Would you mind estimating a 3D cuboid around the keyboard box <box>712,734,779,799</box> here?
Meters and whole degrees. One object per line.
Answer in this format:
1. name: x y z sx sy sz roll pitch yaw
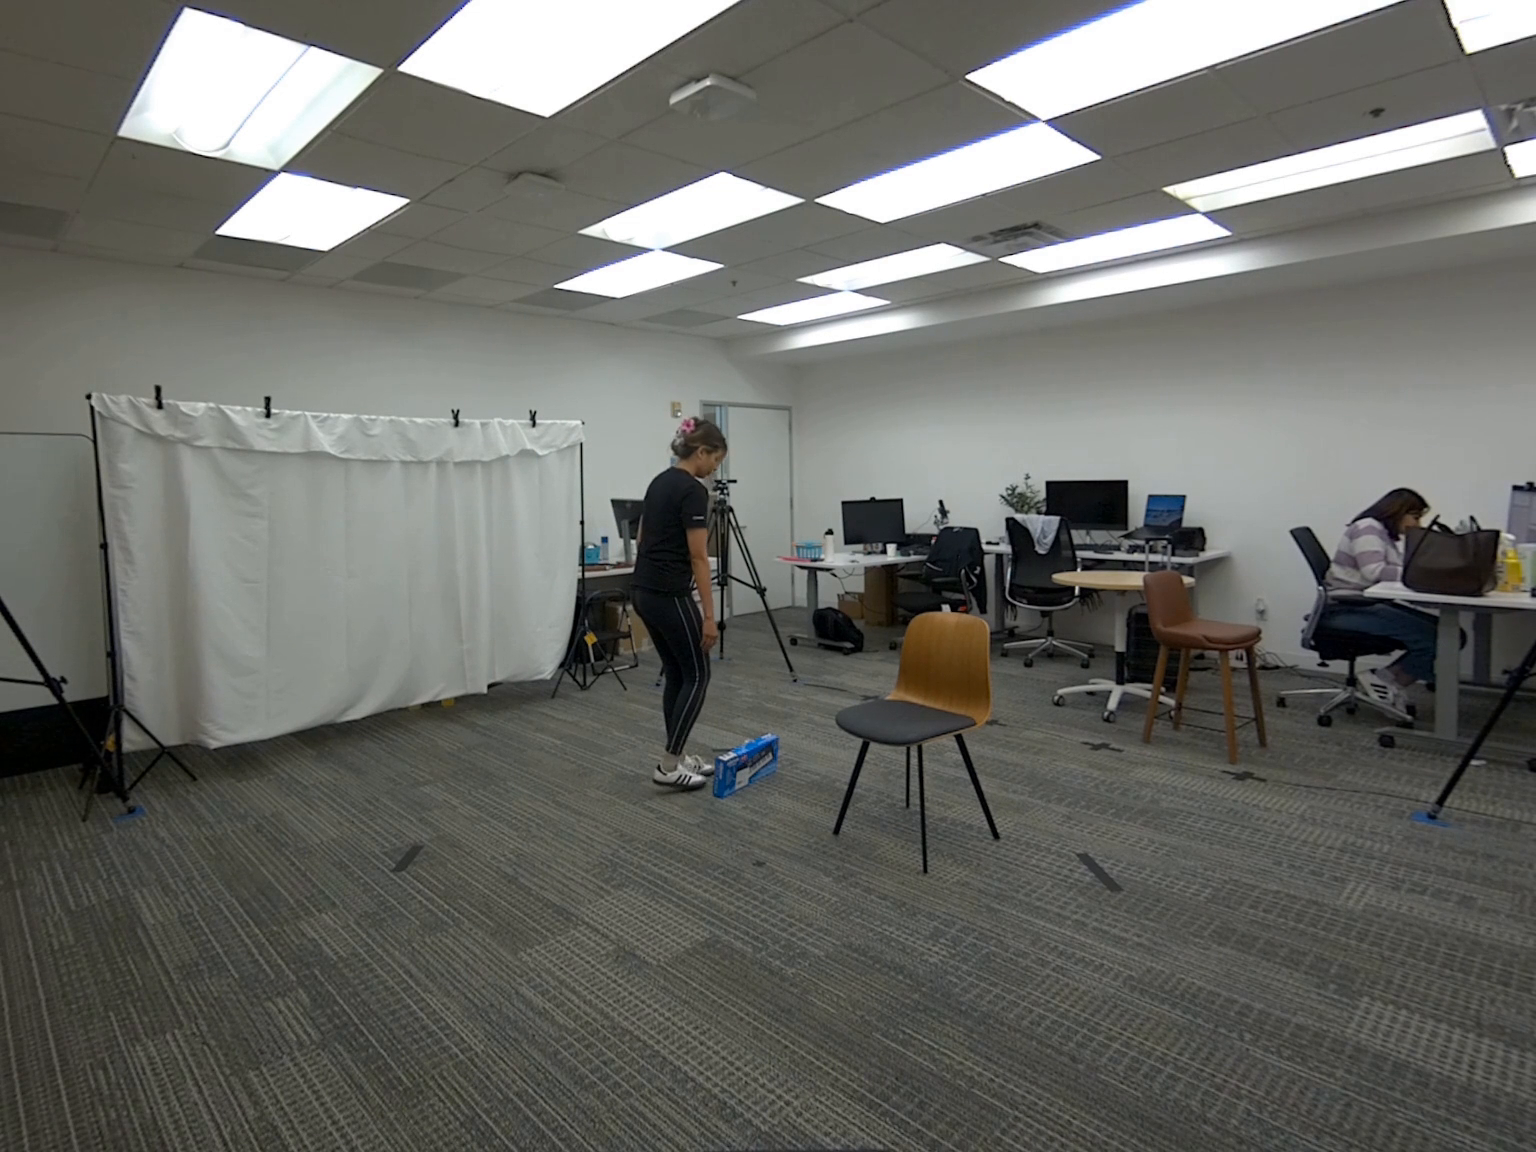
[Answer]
1. keyboard box: -0.095 0.873 3.940 0.061 0.175 0.426 8 10 33
